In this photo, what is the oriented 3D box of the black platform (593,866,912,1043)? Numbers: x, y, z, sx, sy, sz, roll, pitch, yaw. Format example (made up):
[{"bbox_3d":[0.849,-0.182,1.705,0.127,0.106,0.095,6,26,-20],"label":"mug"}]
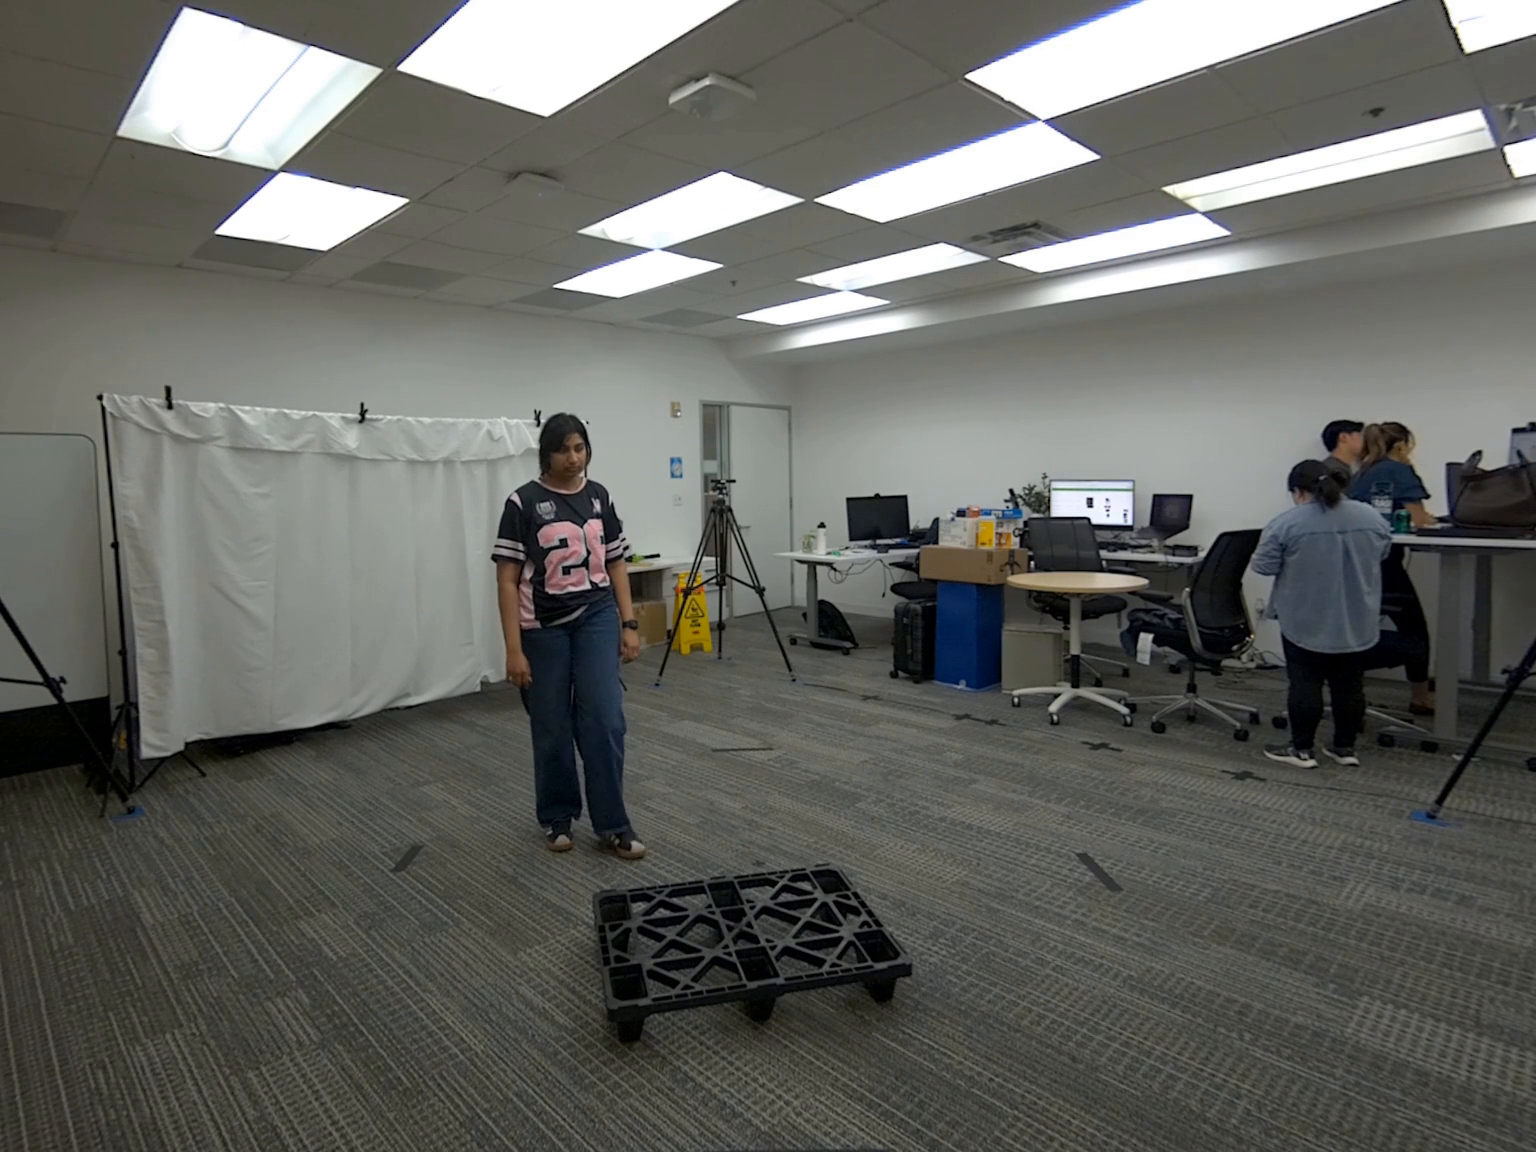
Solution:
[{"bbox_3d":[-0.080,1.059,2.438,0.796,0.143,0.615,-3,6,-13],"label":"black platform"}]
